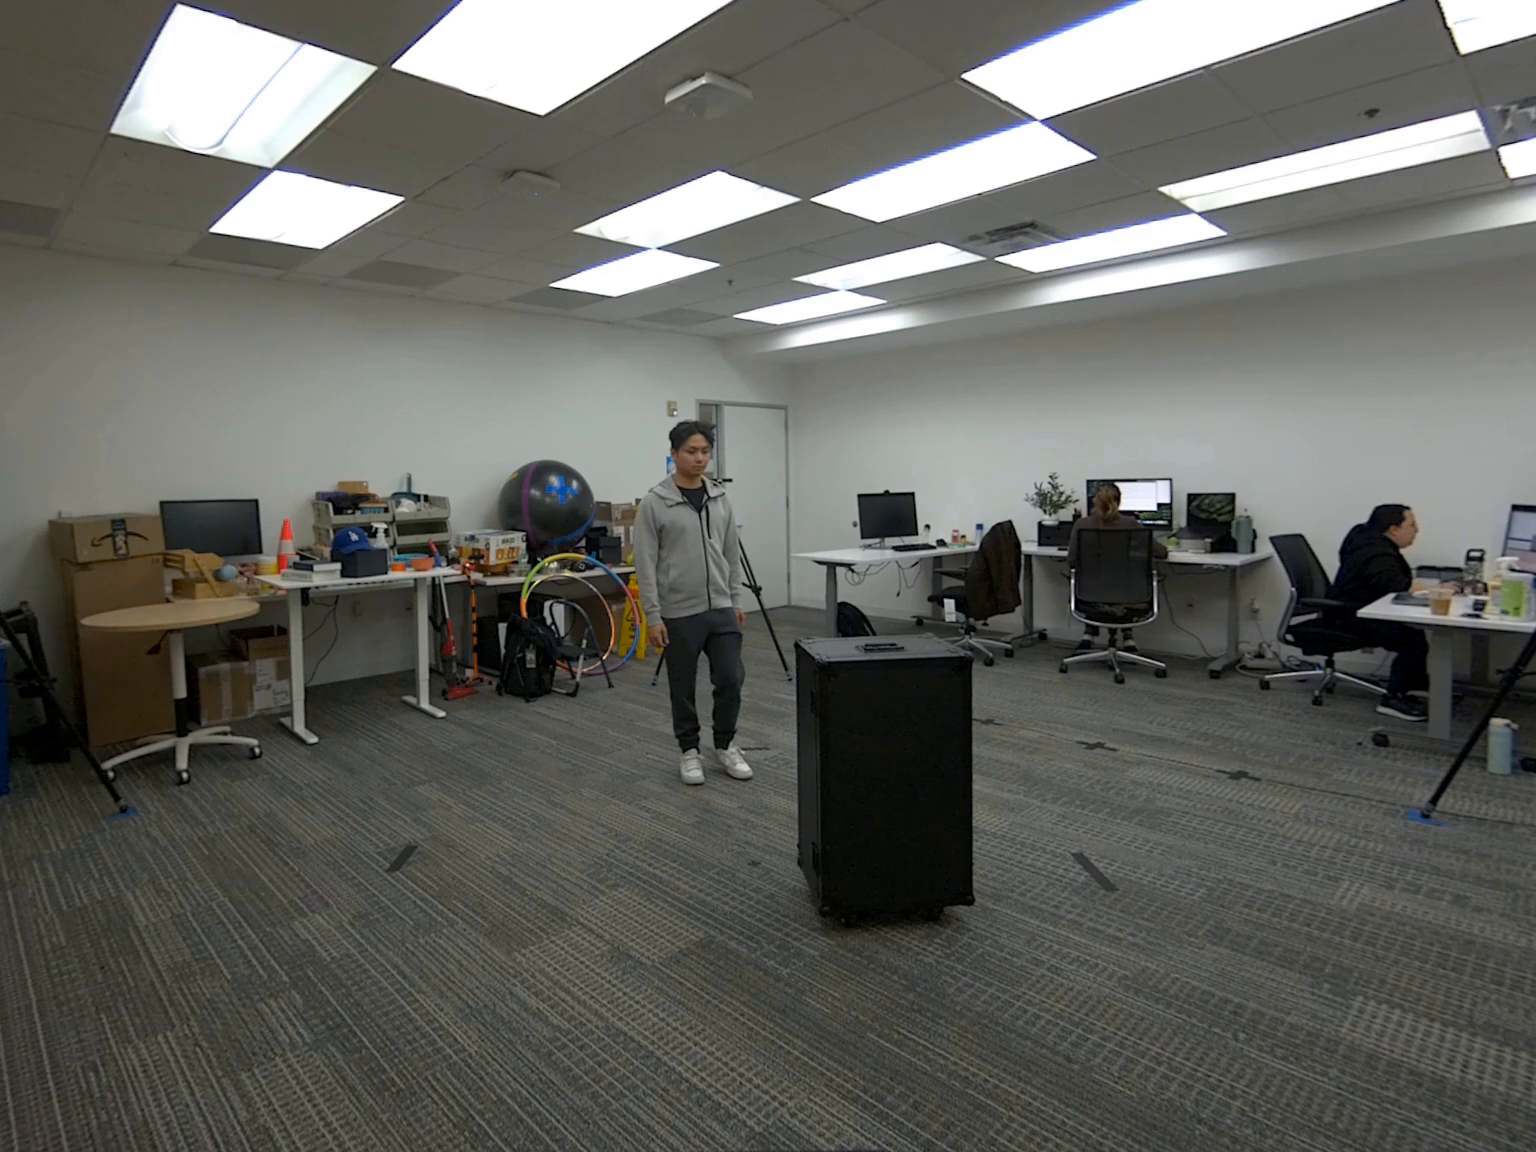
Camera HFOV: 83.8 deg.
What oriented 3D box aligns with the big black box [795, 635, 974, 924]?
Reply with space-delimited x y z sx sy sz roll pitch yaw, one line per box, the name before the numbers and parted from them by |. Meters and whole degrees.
big black box | 0.364 0.651 2.769 0.517 0.858 0.401 -2 4 -8
